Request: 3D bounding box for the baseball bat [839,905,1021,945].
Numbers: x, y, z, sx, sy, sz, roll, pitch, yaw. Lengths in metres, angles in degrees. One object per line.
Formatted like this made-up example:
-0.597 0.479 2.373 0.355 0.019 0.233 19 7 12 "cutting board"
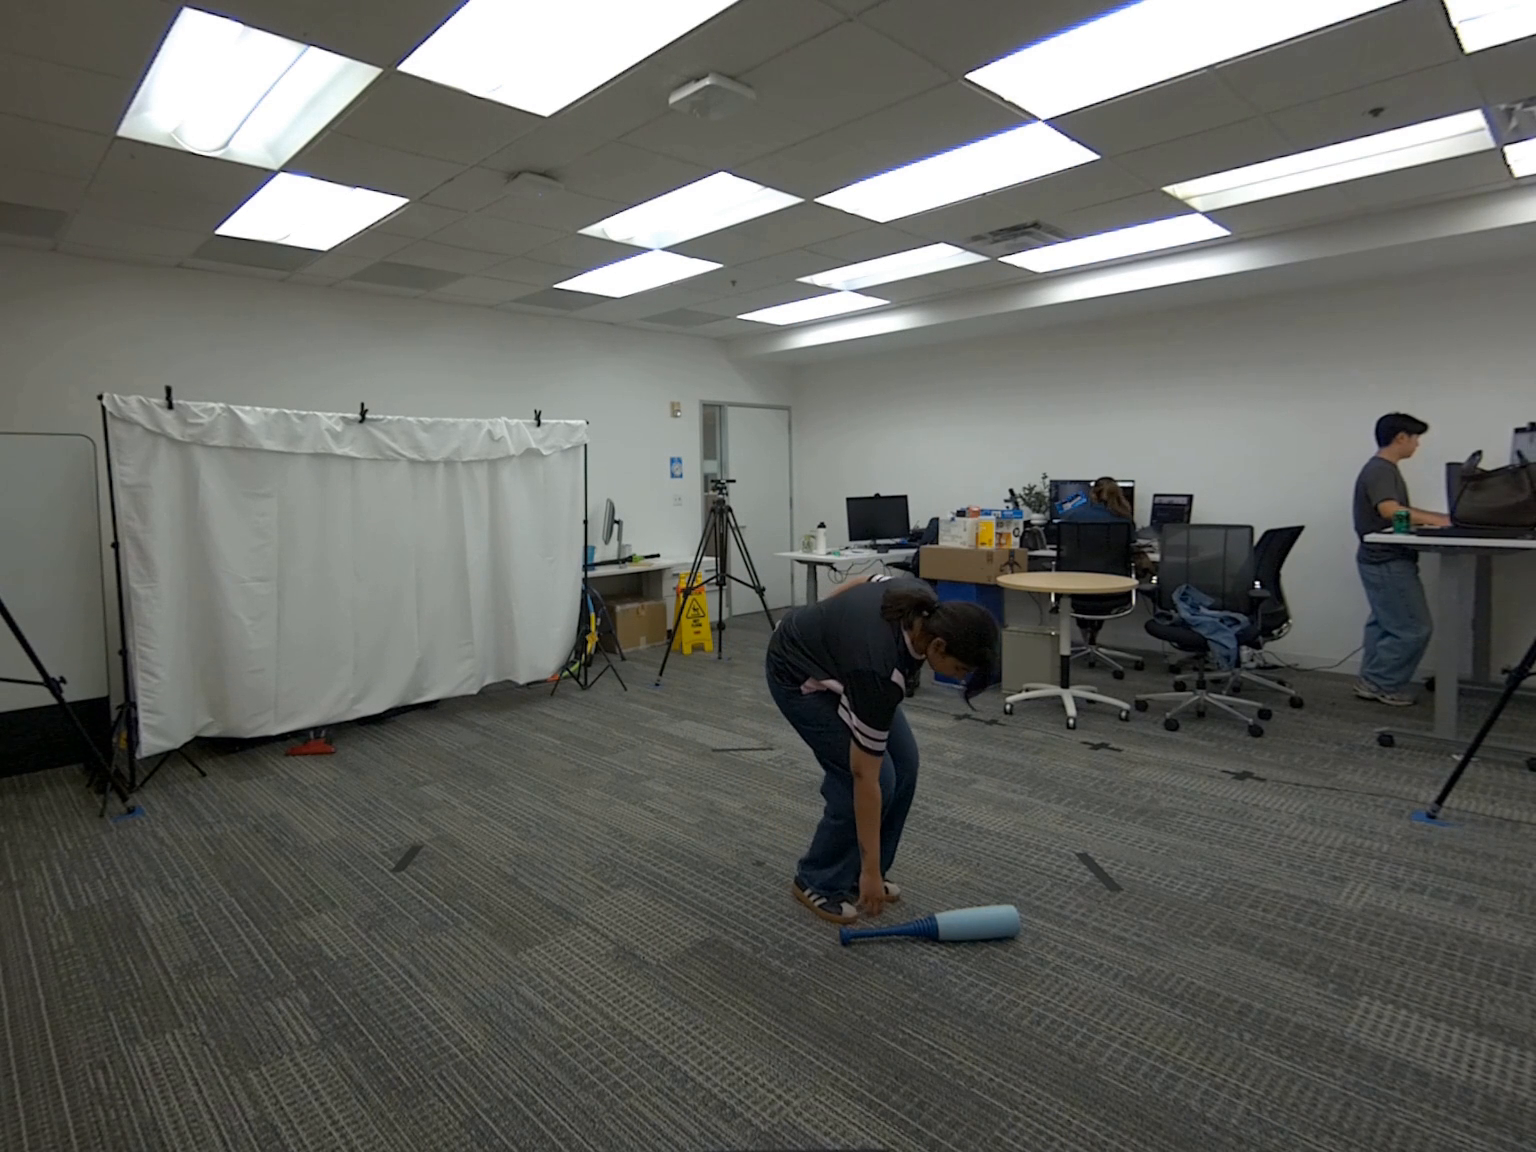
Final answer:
0.492 1.063 2.573 0.542 0.089 0.089 -5 5 -2 "baseball bat"
